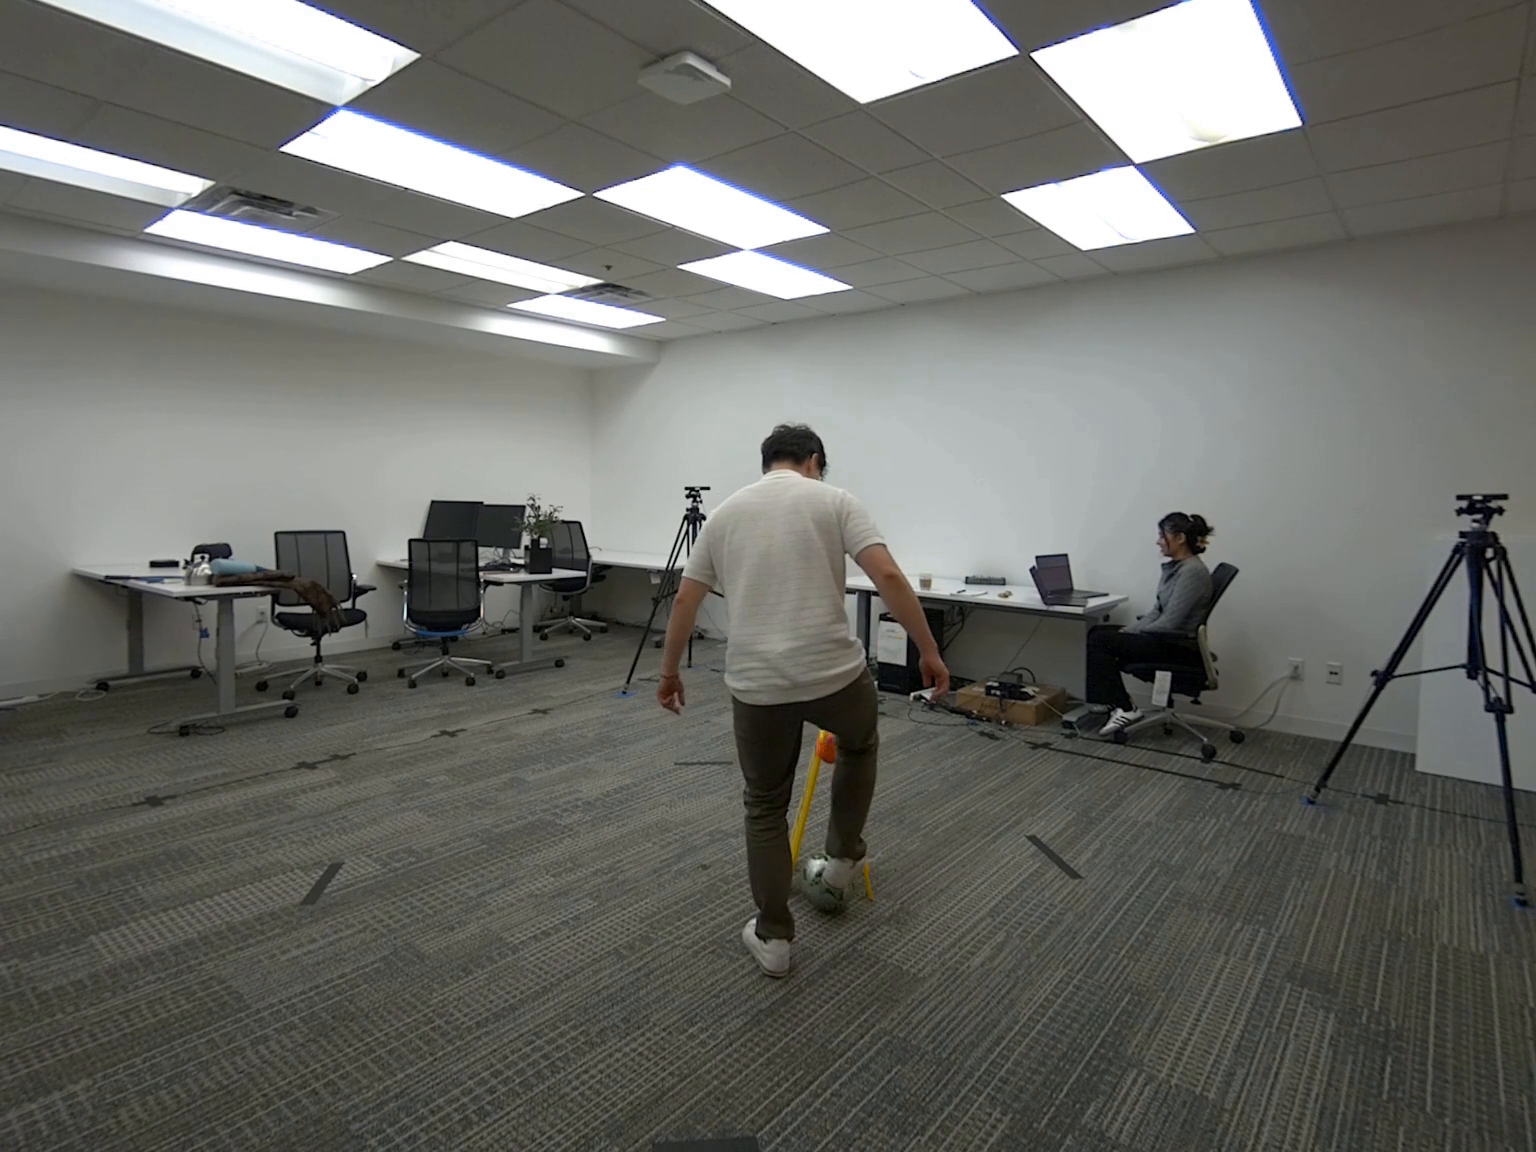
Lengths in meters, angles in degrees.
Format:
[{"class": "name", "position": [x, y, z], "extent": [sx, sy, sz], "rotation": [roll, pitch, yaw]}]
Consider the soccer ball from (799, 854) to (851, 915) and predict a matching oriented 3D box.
[{"class": "soccer ball", "position": [0.189, 1.009, 2.820], "extent": [0.187, 0.187, 0.188], "rotation": [0, 4, -2]}]
